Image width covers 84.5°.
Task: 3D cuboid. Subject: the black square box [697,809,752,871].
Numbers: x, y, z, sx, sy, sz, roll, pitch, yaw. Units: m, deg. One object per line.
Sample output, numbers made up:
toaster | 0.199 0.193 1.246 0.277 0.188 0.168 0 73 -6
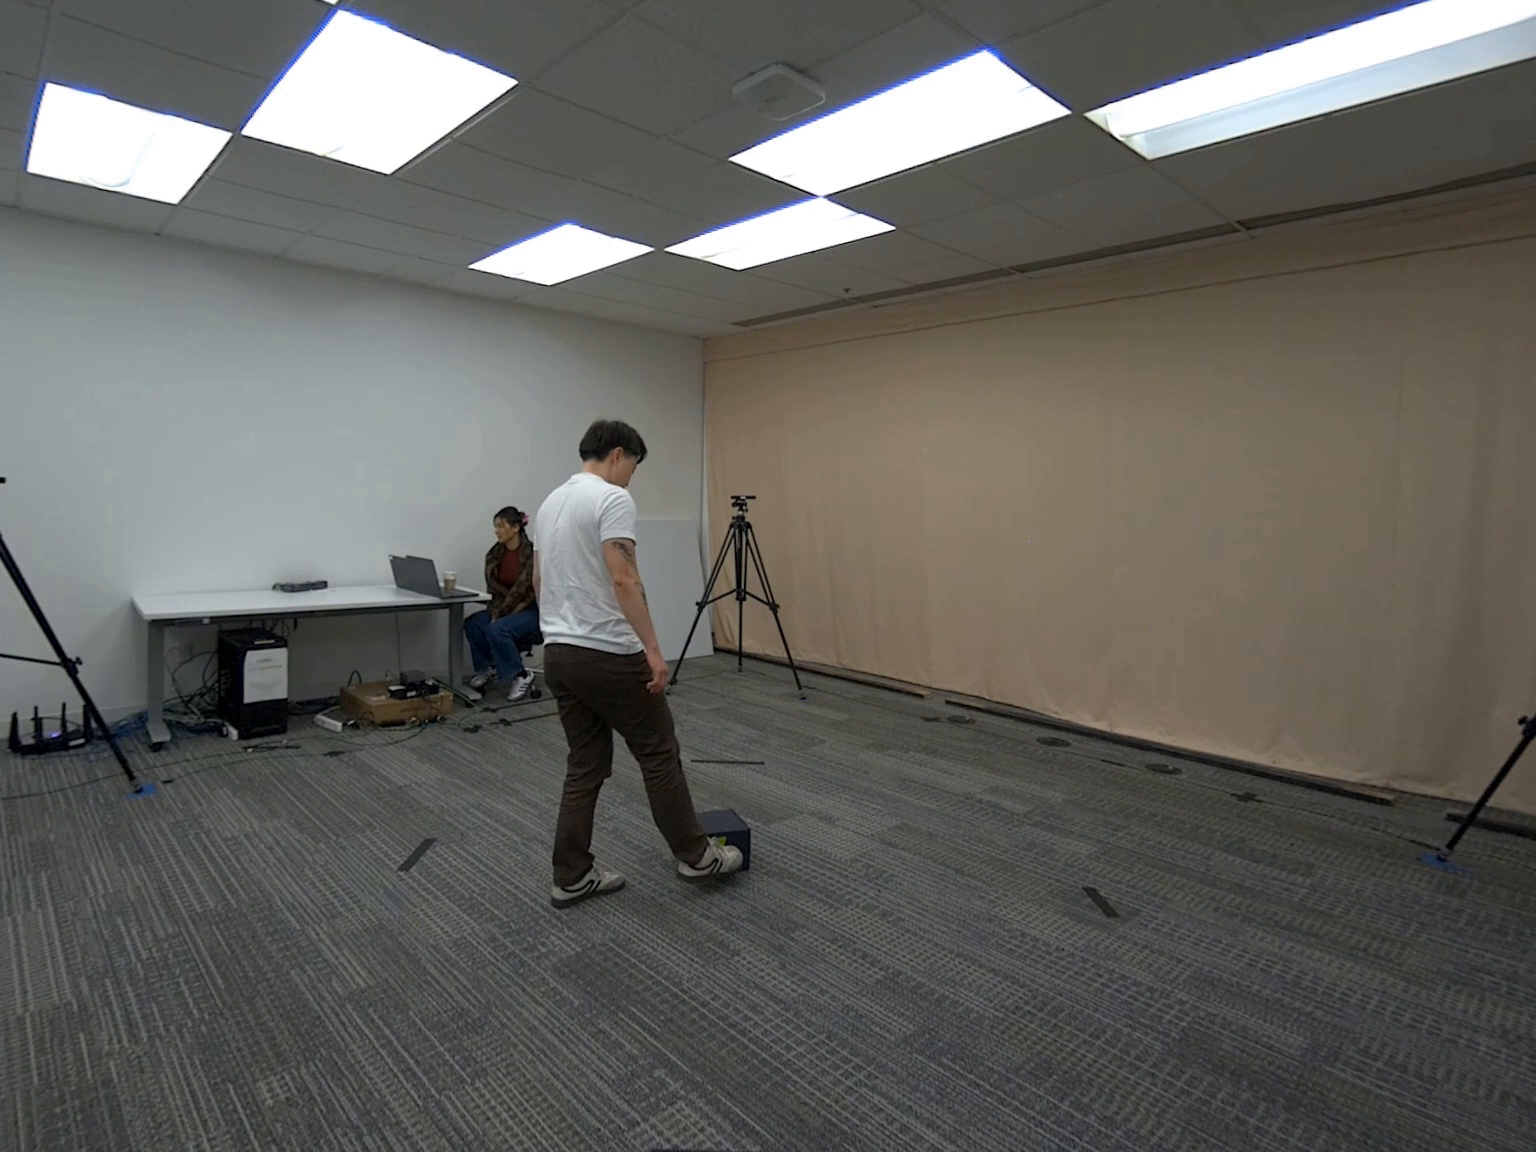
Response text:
black square box | -0.215 1.010 3.203 0.224 0.155 0.221 0 5 -21
